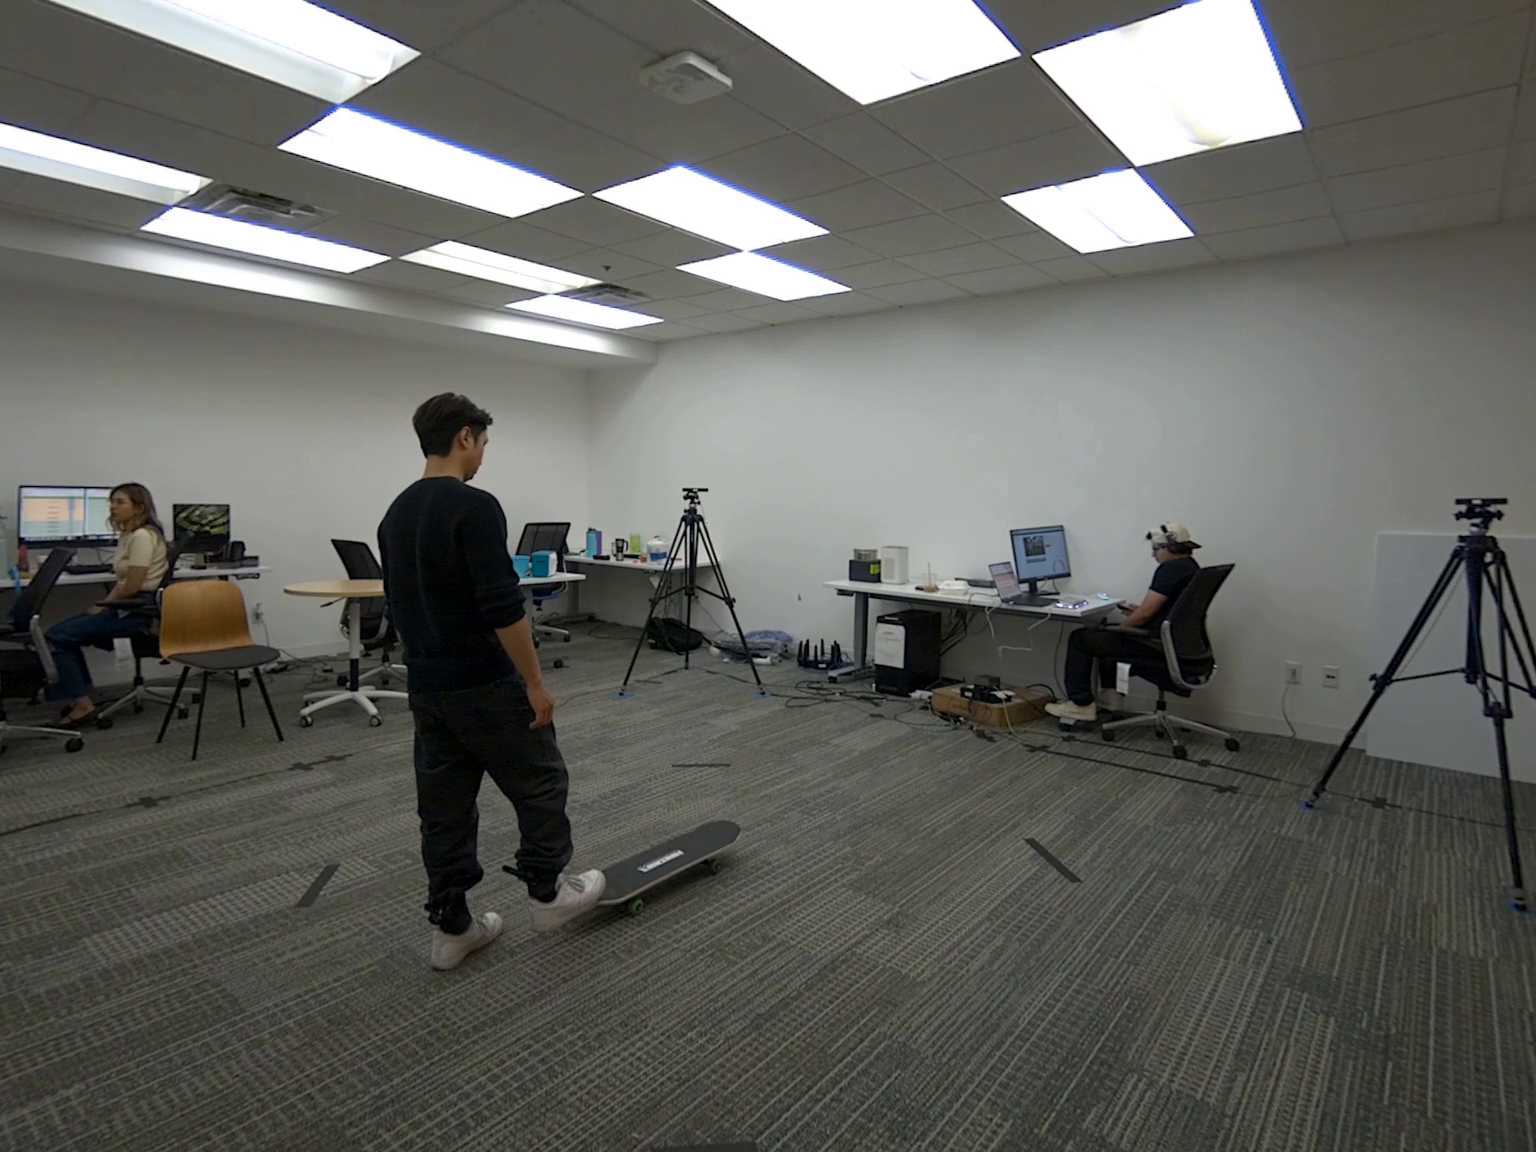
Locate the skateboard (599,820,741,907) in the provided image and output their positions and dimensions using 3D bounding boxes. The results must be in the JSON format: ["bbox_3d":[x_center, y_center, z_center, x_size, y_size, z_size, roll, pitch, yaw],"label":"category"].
[{"bbox_3d":[-0.378,1.024,2.969,0.200,0.110,0.763,5,7,38],"label":"skateboard"}]
